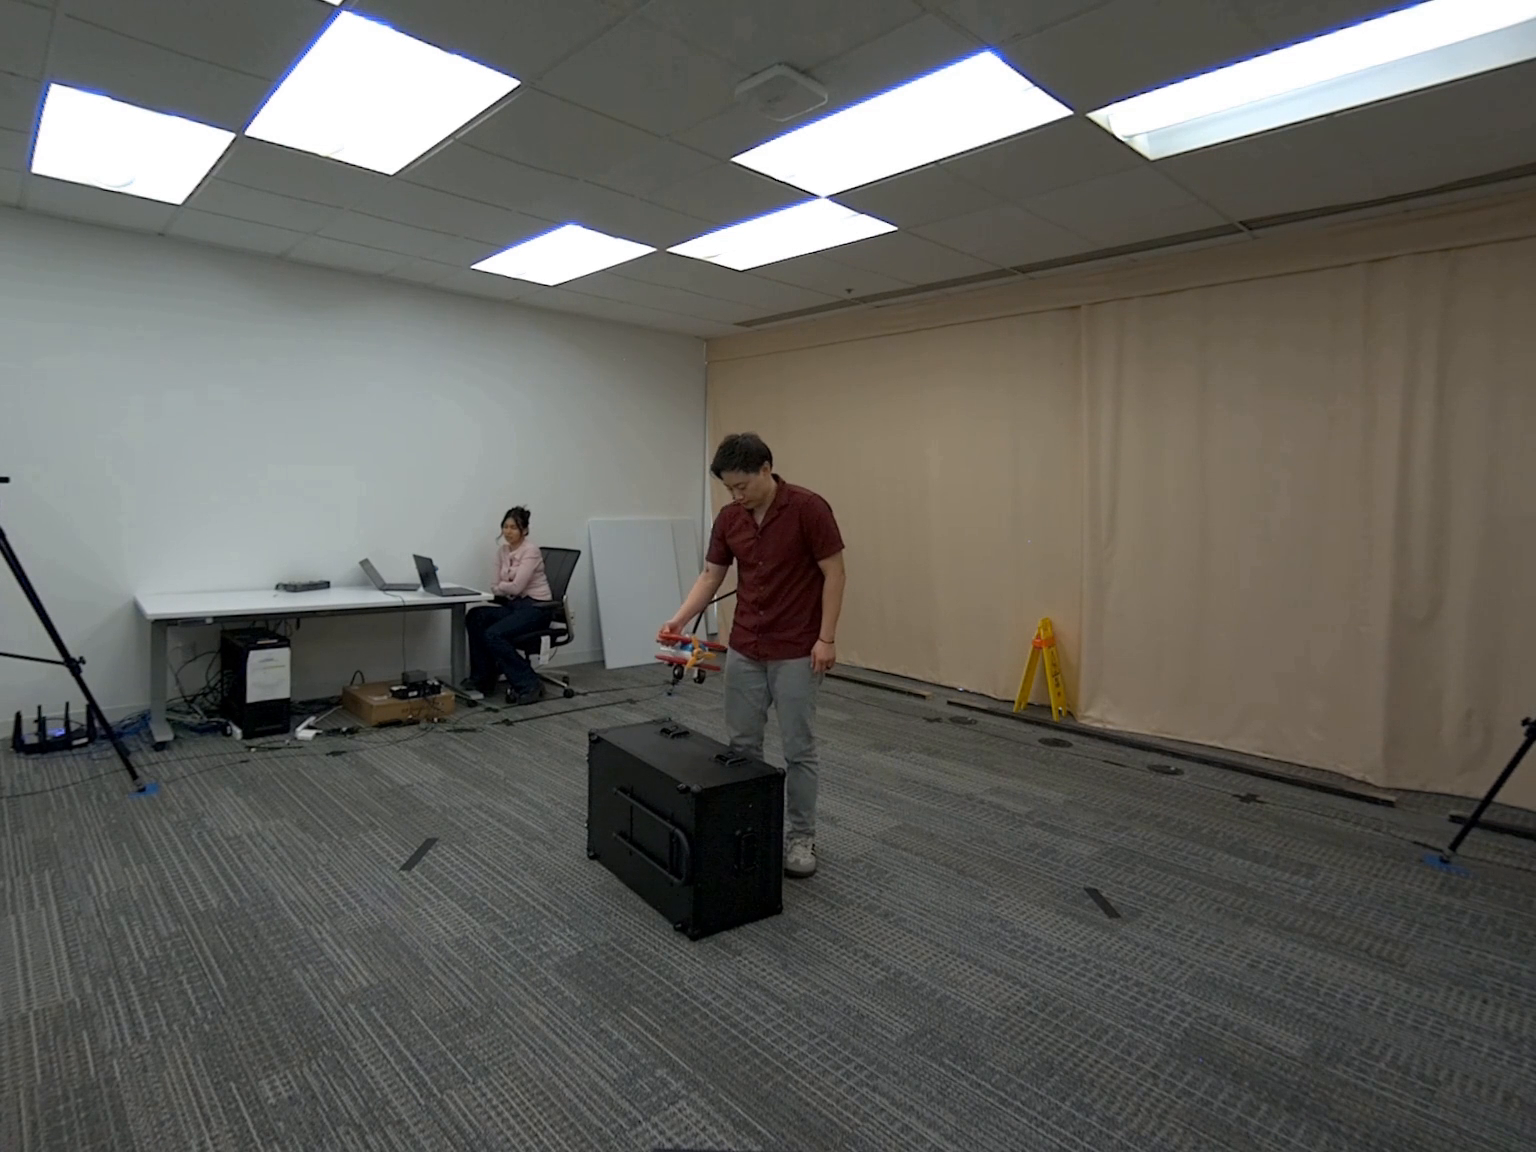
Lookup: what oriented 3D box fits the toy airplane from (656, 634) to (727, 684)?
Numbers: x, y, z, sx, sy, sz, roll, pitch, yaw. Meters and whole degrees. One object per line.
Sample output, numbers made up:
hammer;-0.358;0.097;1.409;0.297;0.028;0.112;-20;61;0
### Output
toy airplane;-0.331;0.295;3.124;0.267;0.156;0.244;18;4;38
